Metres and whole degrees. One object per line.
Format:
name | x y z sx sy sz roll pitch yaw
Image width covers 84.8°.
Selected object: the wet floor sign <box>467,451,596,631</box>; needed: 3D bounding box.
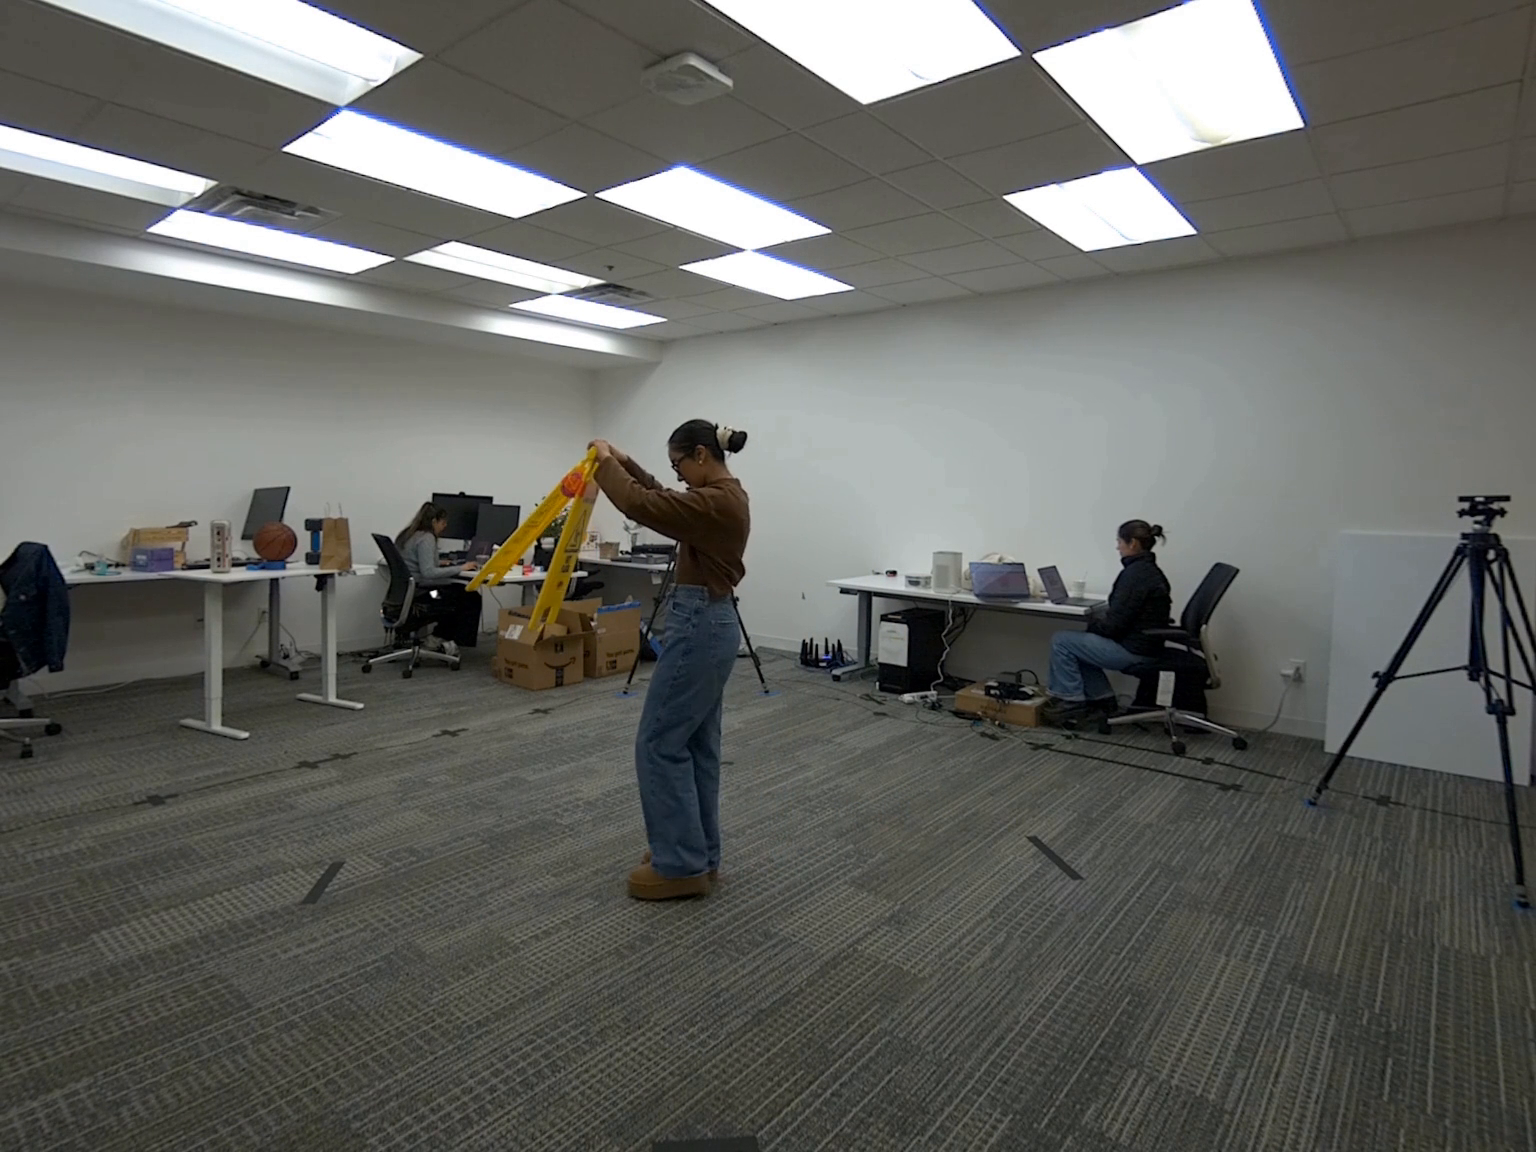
wet floor sign | -0.760 -0.161 2.992 0.291 0.646 0.281 30 1 2
